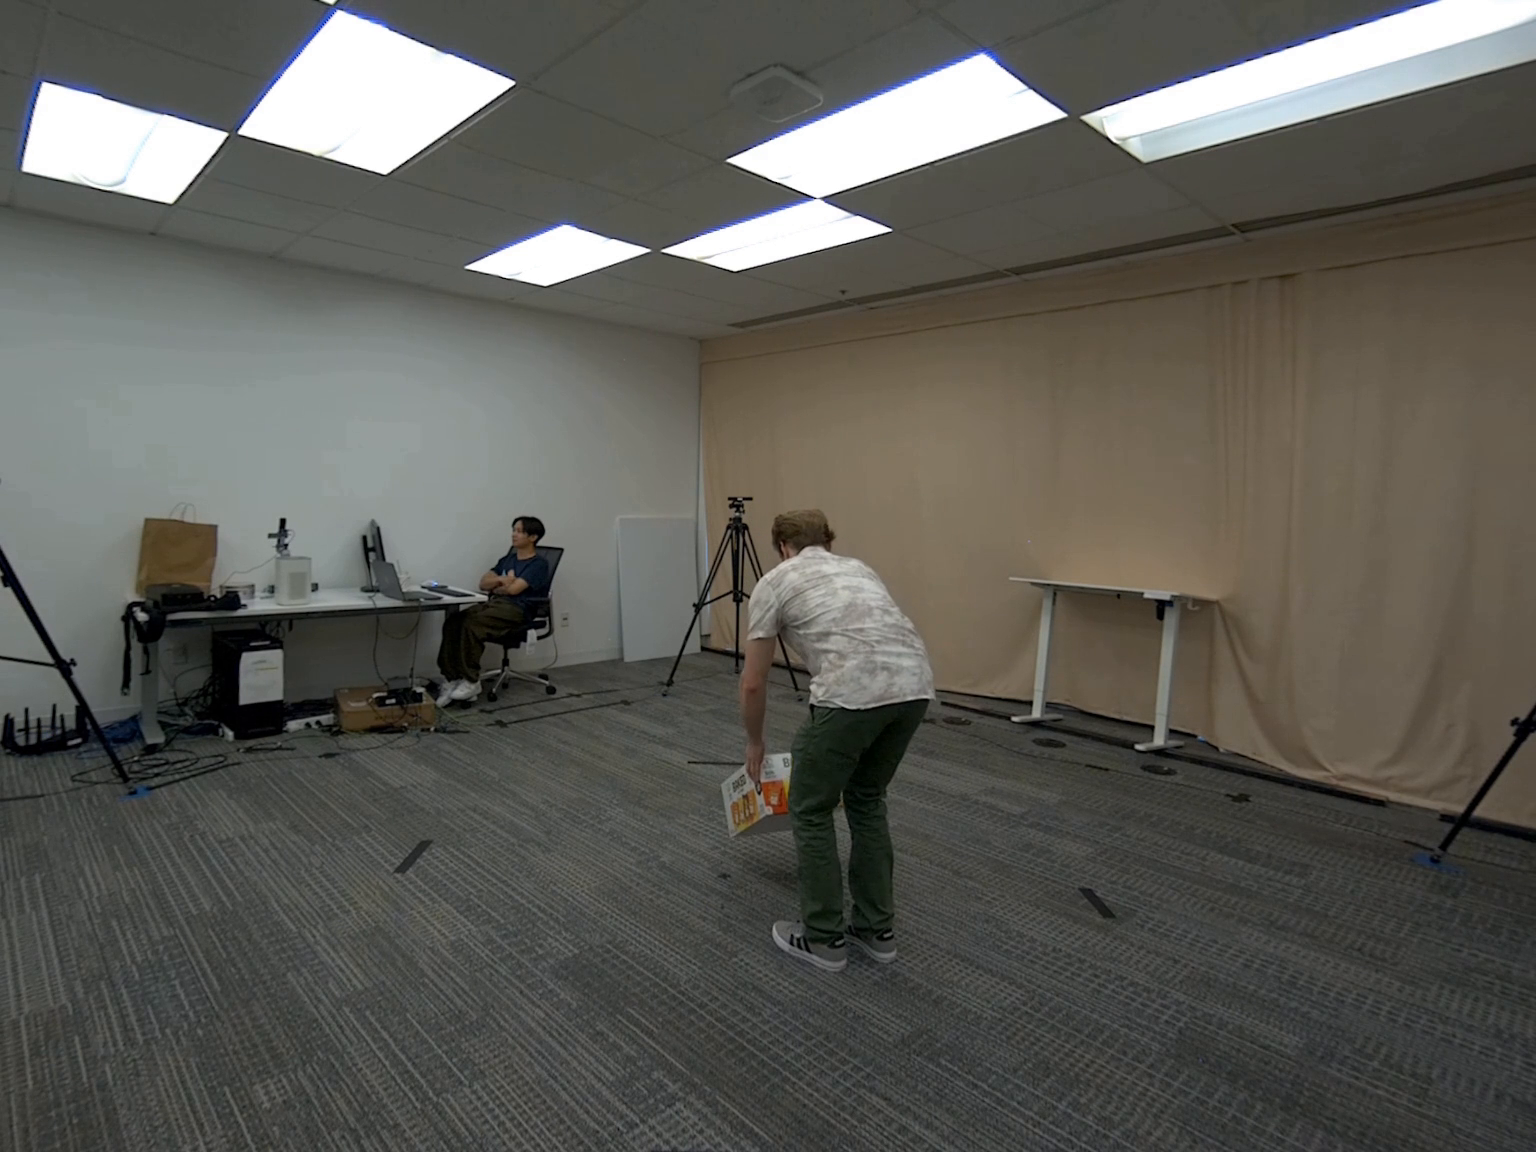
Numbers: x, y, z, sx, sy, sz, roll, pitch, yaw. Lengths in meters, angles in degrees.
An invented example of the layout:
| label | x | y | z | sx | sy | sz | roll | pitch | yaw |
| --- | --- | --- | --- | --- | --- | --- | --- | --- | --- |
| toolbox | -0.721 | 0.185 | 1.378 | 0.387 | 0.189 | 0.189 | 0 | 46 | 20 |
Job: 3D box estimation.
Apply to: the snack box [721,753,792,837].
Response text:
| label | x | y | z | sx | sy | sz | roll | pitch | yaw |
| --- | --- | --- | --- | --- | --- | --- | --- | --- | --- |
| snack box | 0.056 | 0.797 | 3.080 | 0.335 | 0.210 | 0.403 | 0 | -27 | -21 |
